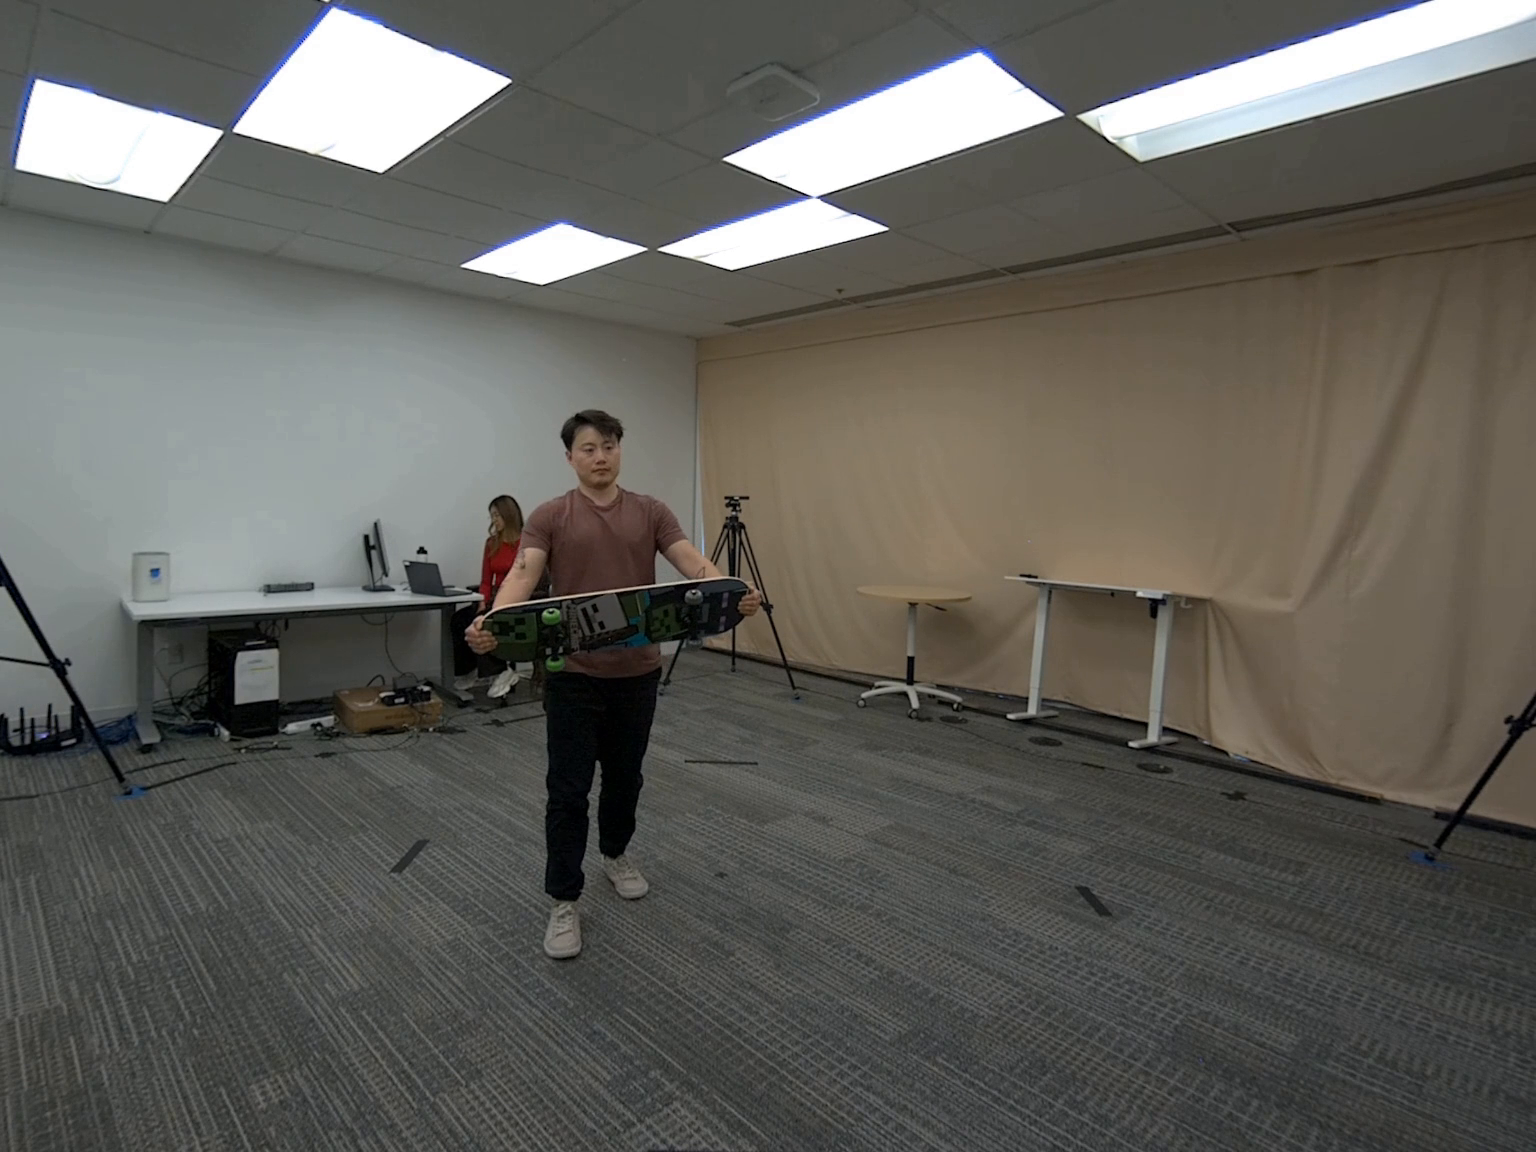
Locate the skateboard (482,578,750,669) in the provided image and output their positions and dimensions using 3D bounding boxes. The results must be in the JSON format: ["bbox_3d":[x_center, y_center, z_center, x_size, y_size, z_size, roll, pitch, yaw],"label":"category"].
[{"bbox_3d":[-0.407,0.145,2.380,0.777,0.190,0.113,-7,31,-15],"label":"skateboard"}]
